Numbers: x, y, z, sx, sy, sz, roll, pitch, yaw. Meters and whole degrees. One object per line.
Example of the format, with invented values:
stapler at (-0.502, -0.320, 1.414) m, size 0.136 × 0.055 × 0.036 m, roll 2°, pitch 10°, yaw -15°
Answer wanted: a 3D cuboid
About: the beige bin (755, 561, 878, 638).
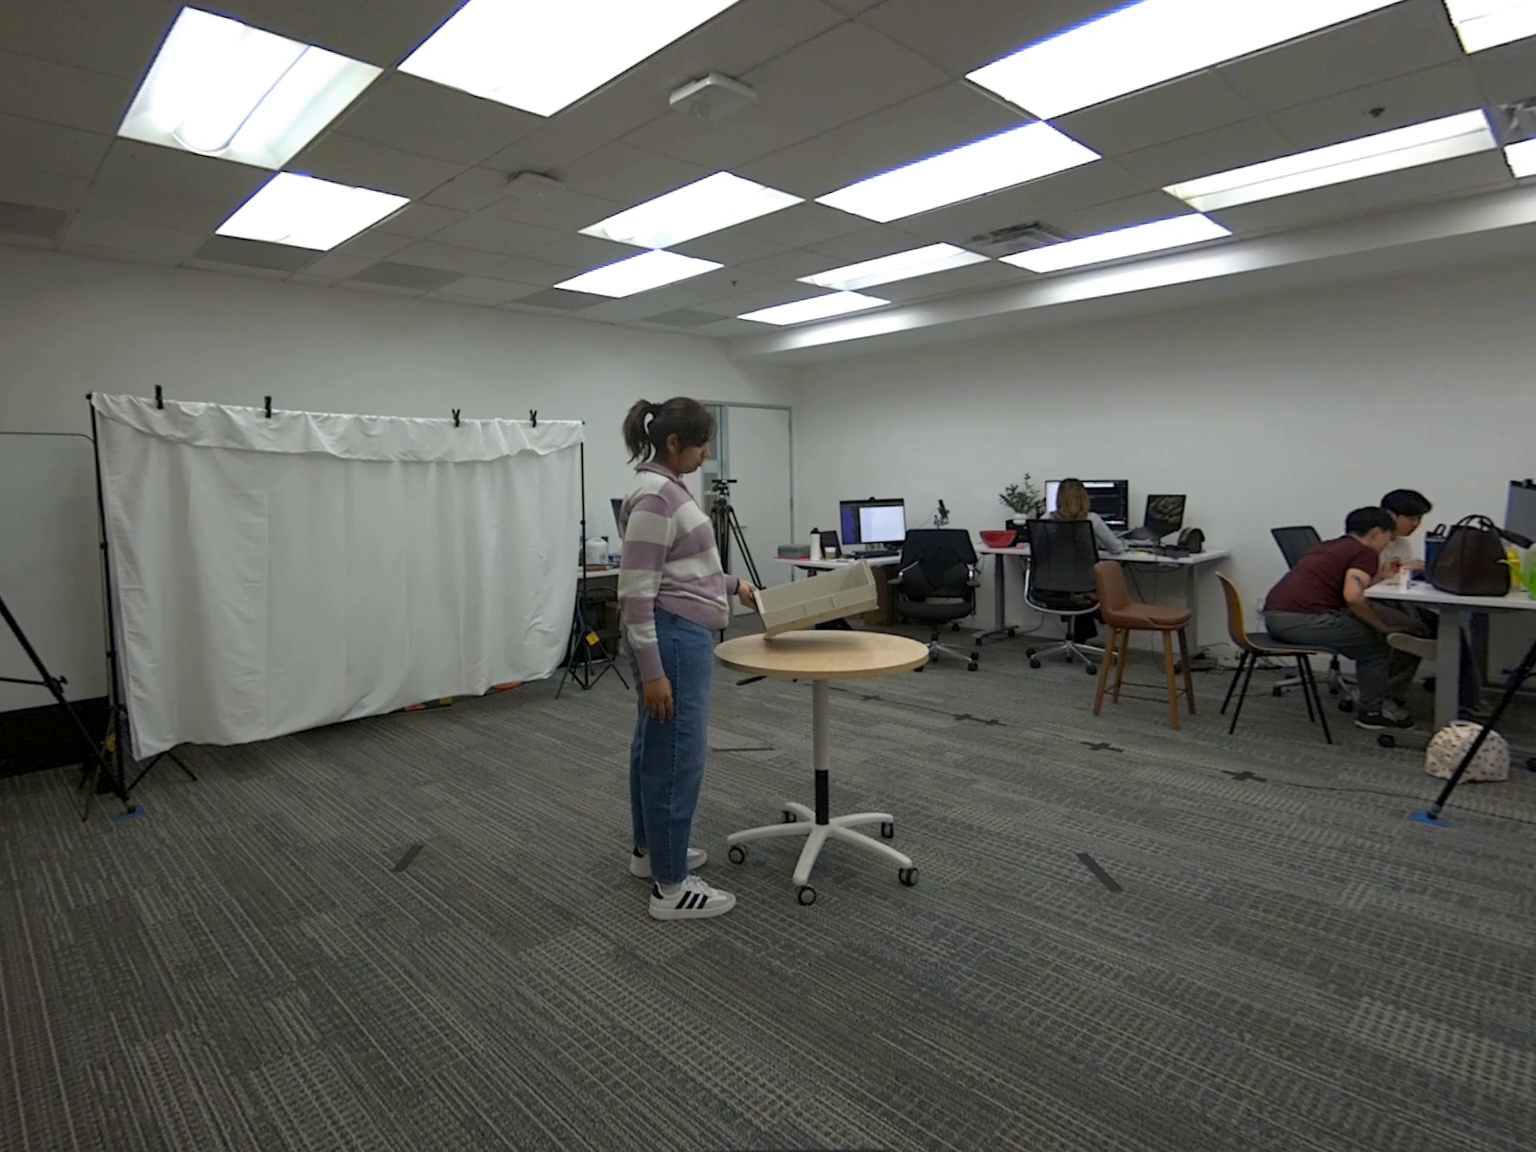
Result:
beige bin at (0.174, 0.099, 3.163) m, size 0.422 × 0.190 × 0.376 m, roll -15°, pitch -2°, yaw -2°
